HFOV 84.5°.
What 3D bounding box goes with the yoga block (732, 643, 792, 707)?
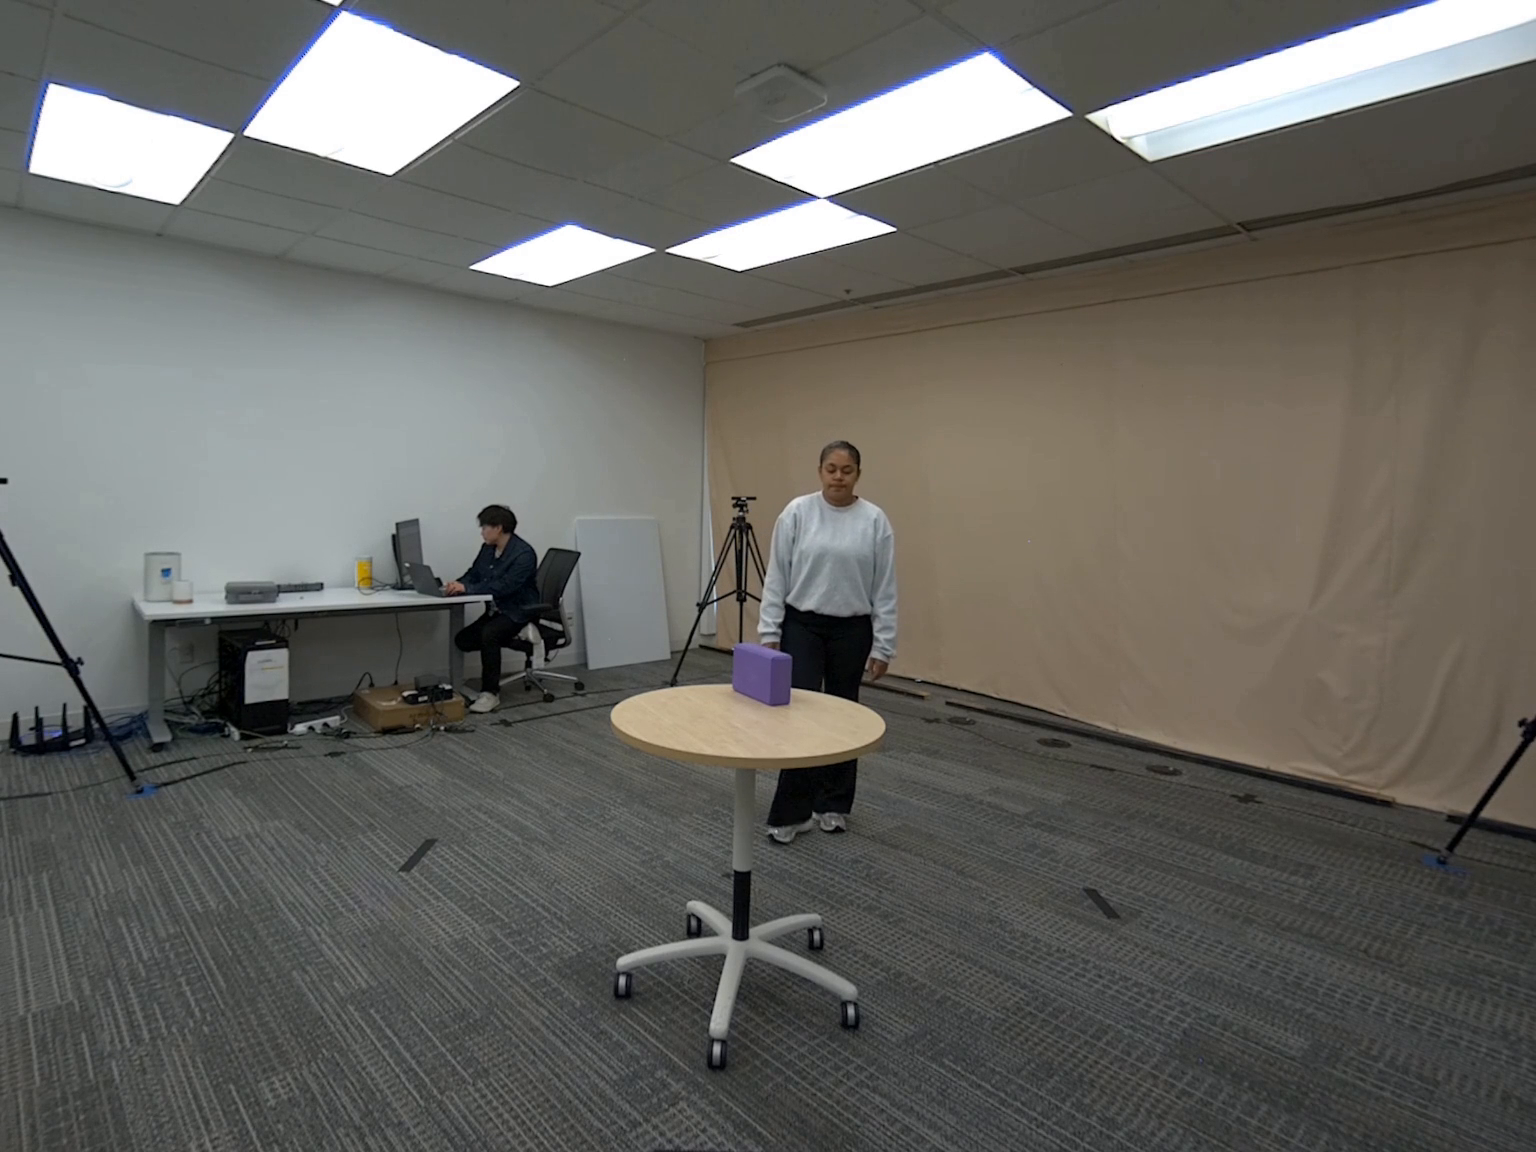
[{"bbox_3d":[-0.023,0.300,2.577,0.075,0.148,0.235,-1,6,-33],"label":"yoga block"}]
